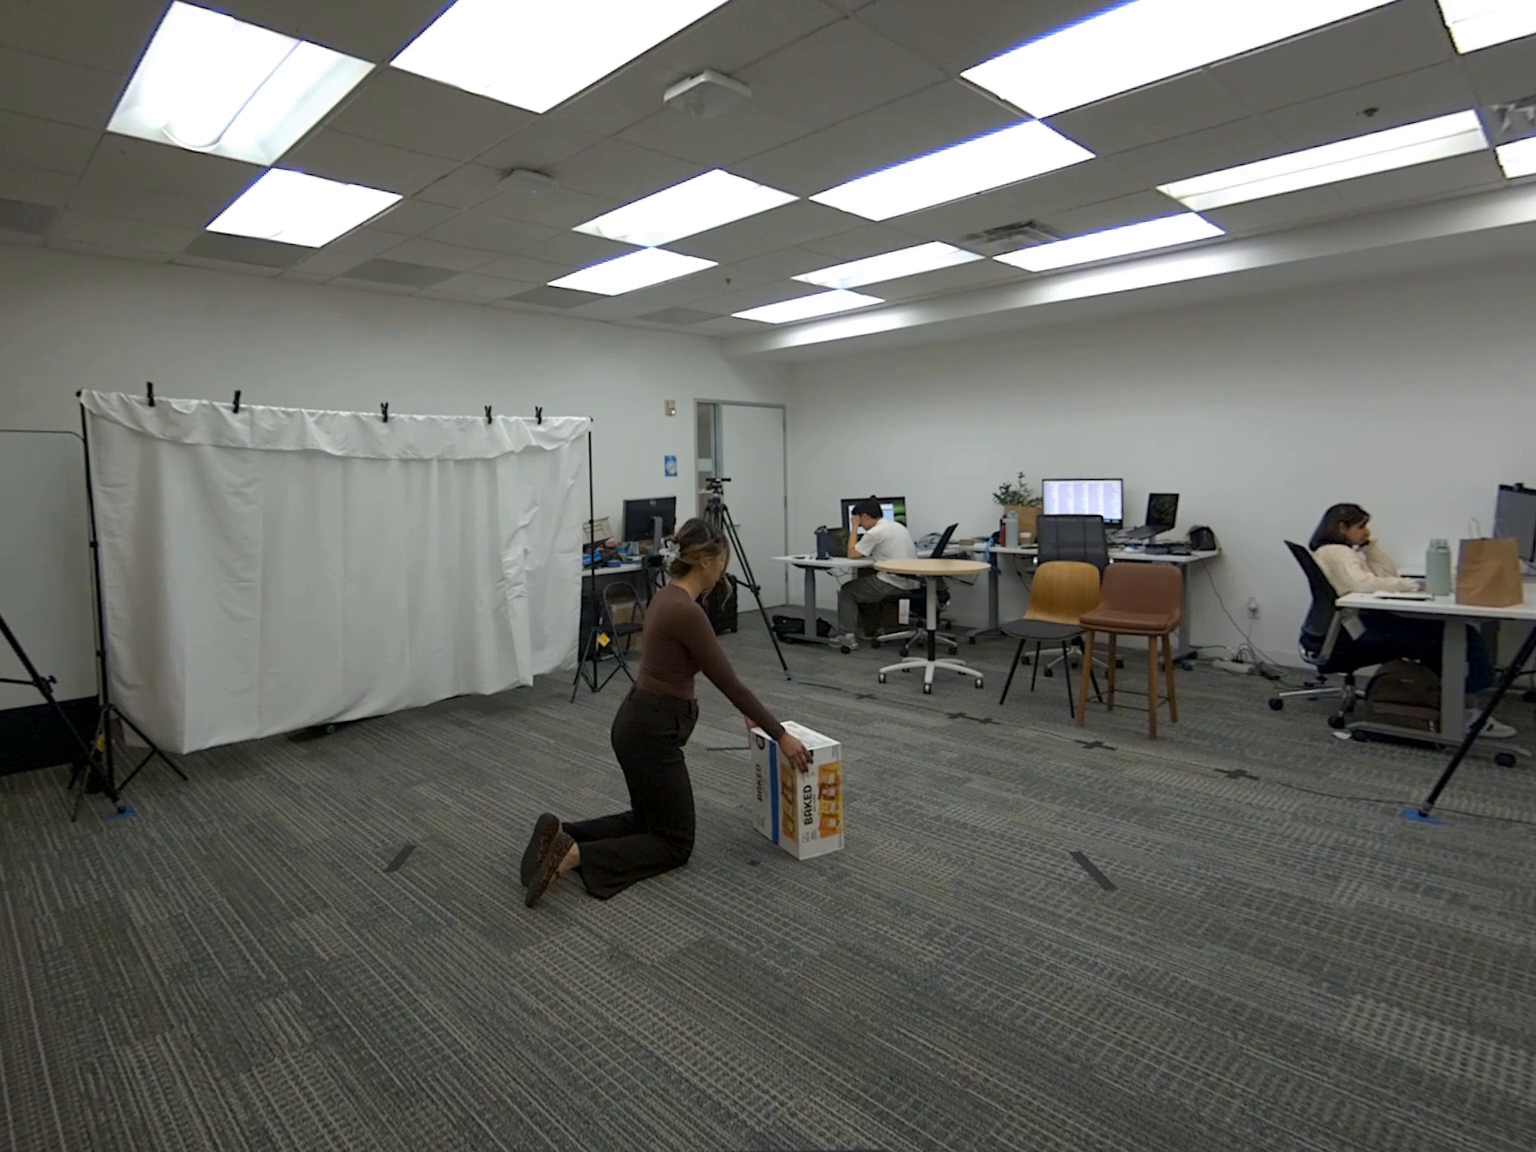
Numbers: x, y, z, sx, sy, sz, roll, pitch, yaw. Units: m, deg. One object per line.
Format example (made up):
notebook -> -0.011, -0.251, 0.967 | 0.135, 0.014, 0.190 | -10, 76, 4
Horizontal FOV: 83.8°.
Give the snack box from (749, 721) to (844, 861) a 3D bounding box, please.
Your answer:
snack box -> 0.106, 0.811, 3.296 | 0.201, 0.403, 0.349 | -4, 6, -29
